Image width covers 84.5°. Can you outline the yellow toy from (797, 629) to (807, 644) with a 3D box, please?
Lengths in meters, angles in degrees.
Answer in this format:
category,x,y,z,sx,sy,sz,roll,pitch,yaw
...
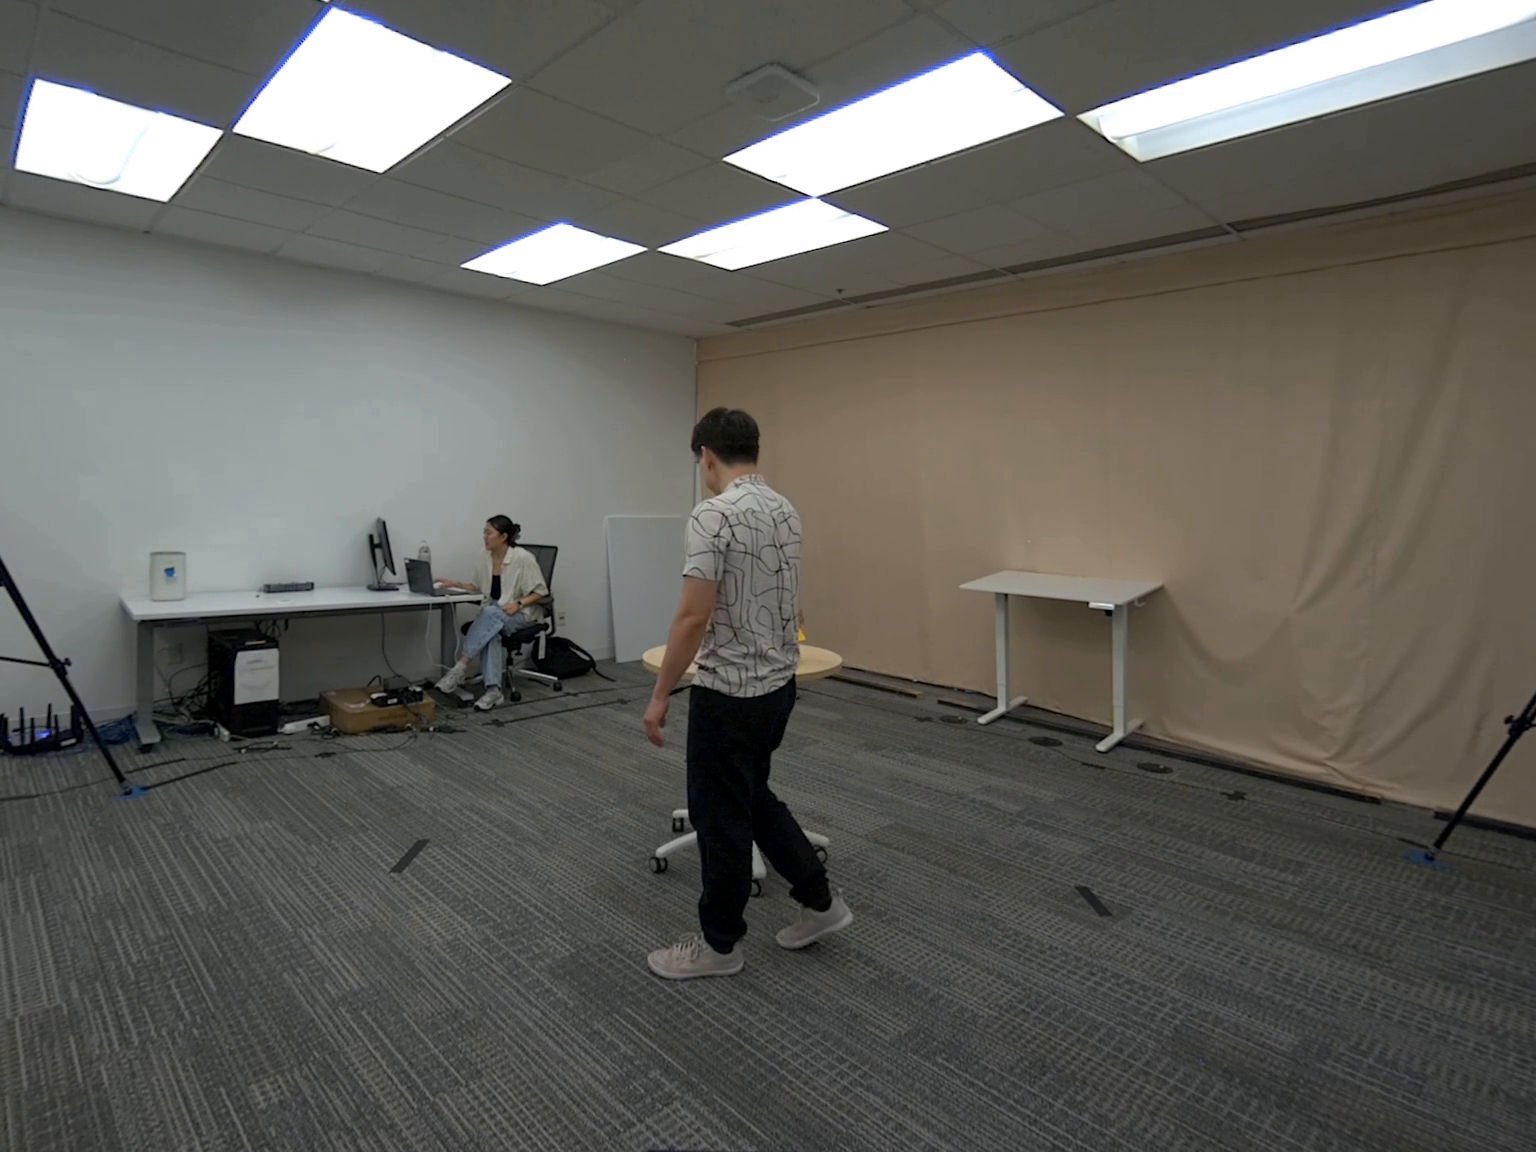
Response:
category,x,y,z,sx,sy,sz,roll,pitch,yaw
yellow toy,0.008,0.206,3.145,0.197,0.230,0.200,3,3,35
